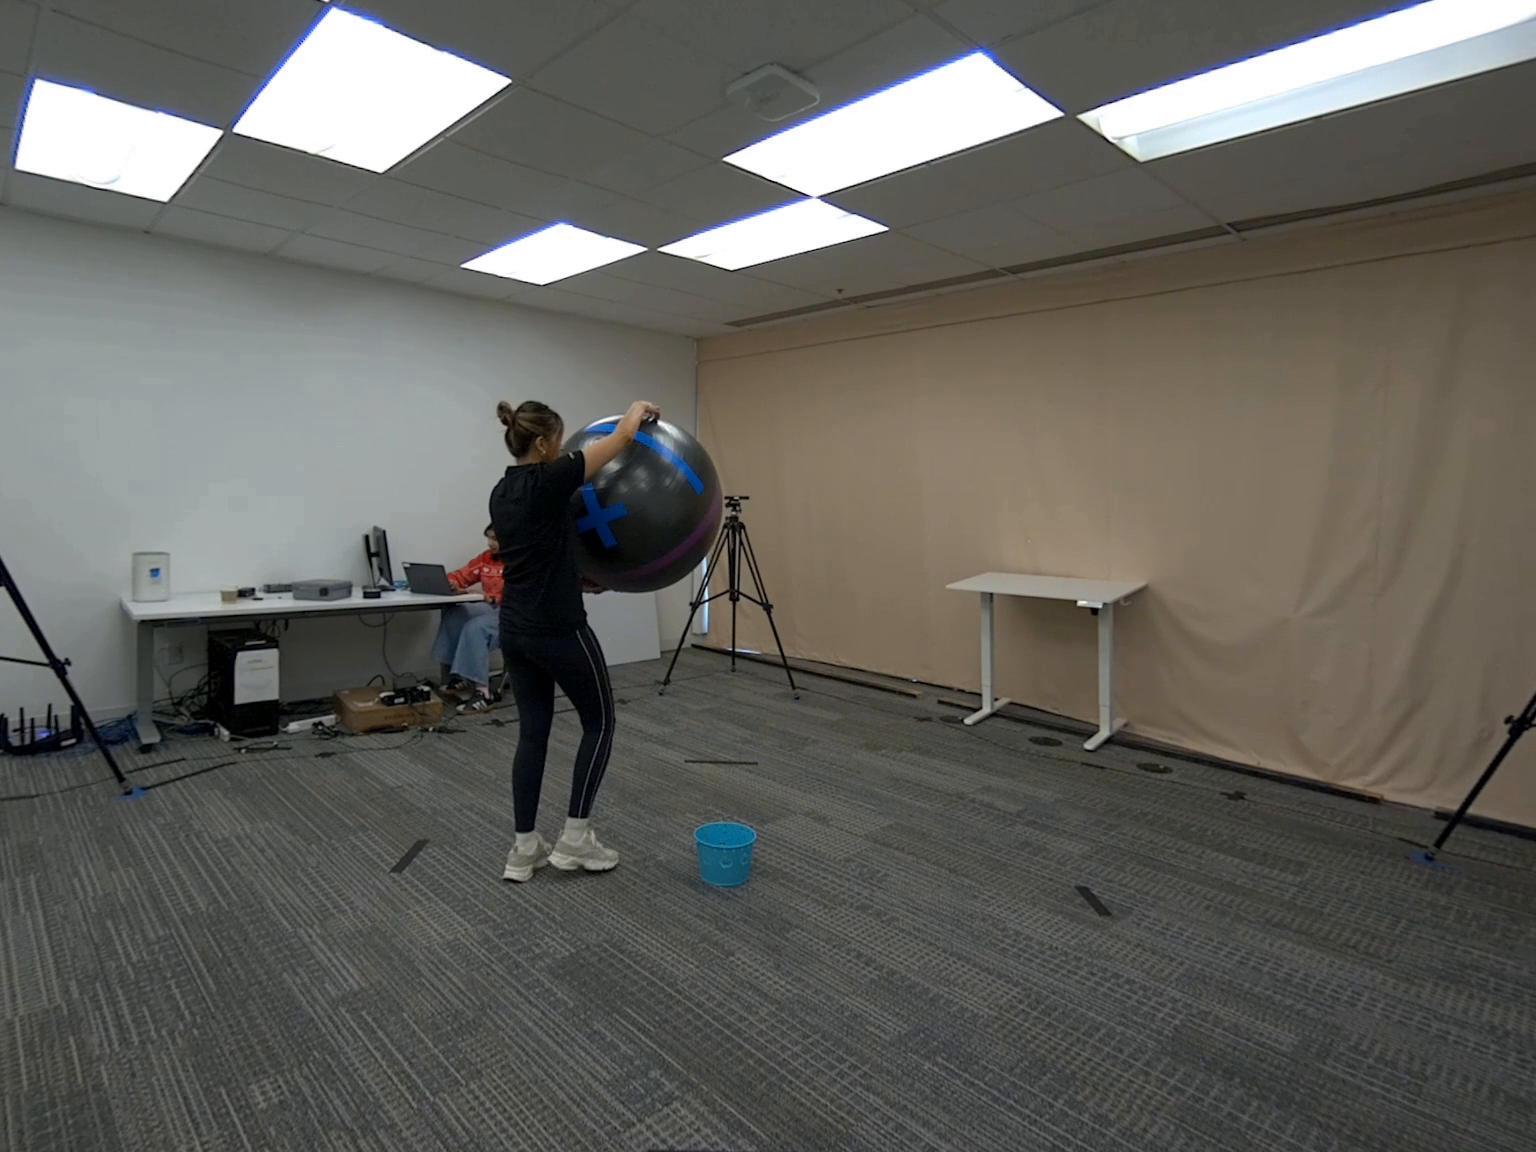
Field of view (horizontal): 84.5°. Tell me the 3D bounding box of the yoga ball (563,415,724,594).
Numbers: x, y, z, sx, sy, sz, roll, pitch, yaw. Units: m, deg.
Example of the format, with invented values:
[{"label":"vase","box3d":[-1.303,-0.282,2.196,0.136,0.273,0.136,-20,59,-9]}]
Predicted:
[{"label":"yoga ball","box3d":[-0.576,-0.300,3.556,0.757,0.756,0.761,1,4,-1]}]
